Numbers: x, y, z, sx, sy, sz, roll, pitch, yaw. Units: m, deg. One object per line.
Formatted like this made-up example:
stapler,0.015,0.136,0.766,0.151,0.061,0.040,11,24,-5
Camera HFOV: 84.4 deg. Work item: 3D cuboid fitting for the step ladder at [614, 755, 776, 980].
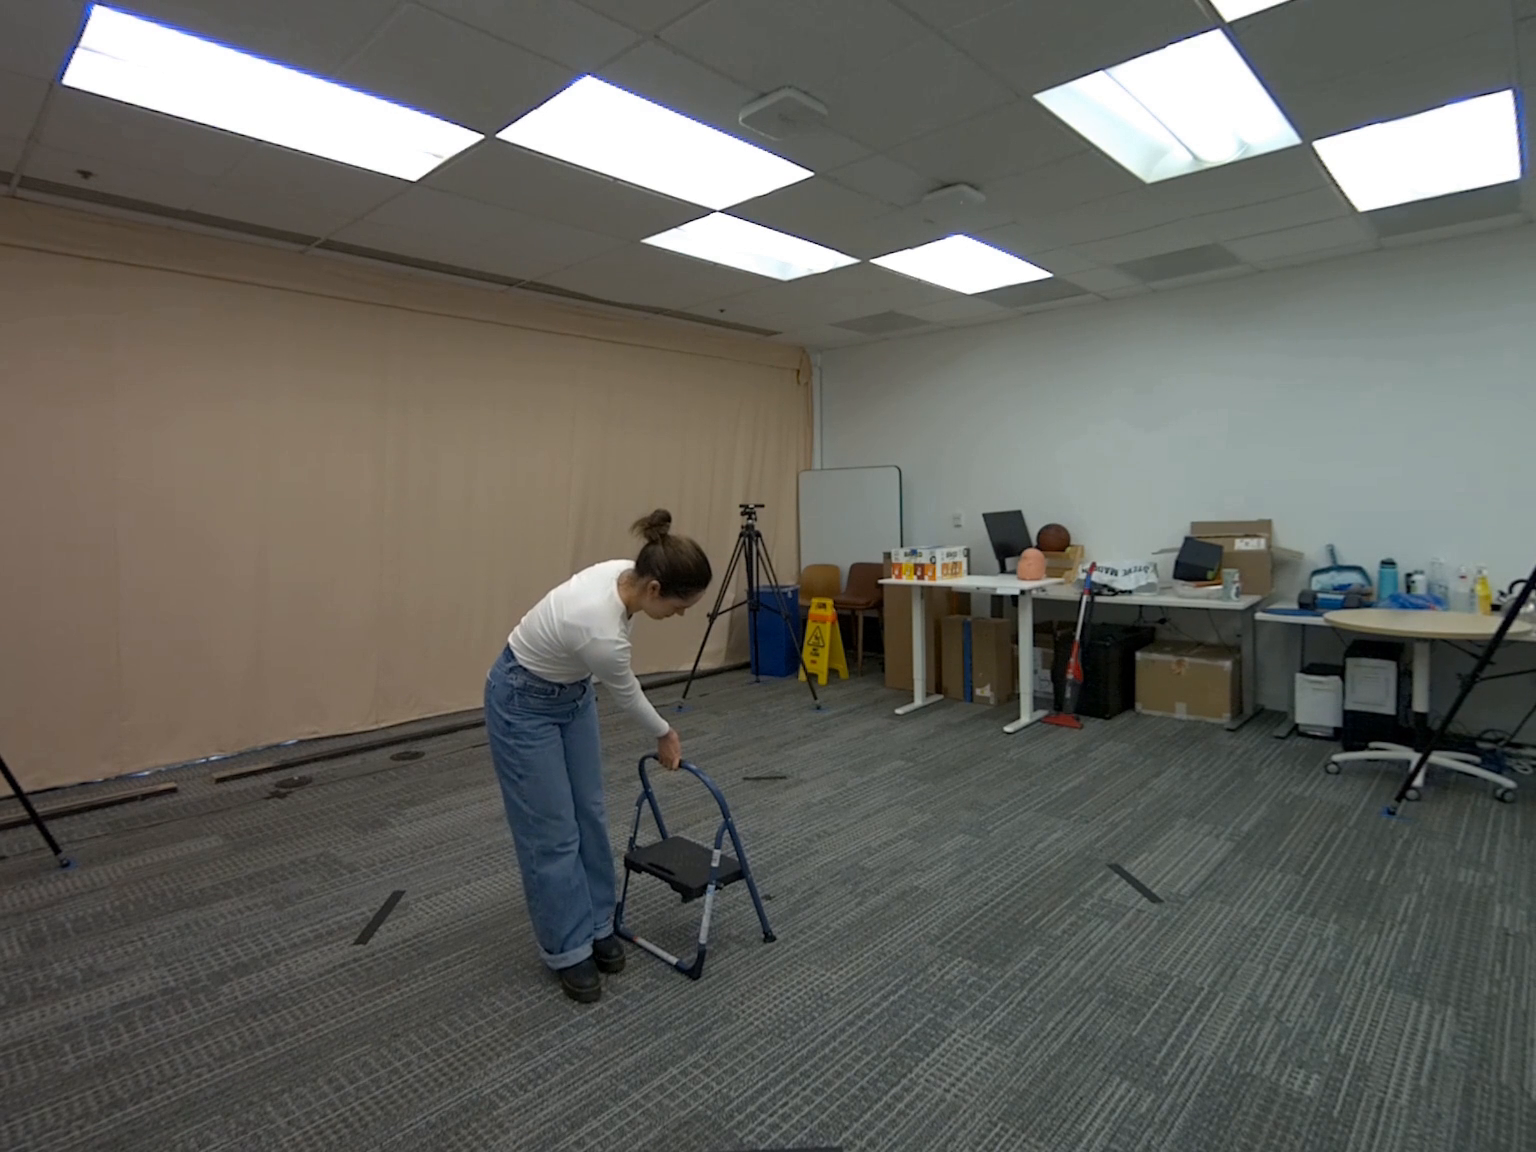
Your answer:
step ladder,-0.250,0.867,2.714,0.445,0.605,0.338,2,4,43
